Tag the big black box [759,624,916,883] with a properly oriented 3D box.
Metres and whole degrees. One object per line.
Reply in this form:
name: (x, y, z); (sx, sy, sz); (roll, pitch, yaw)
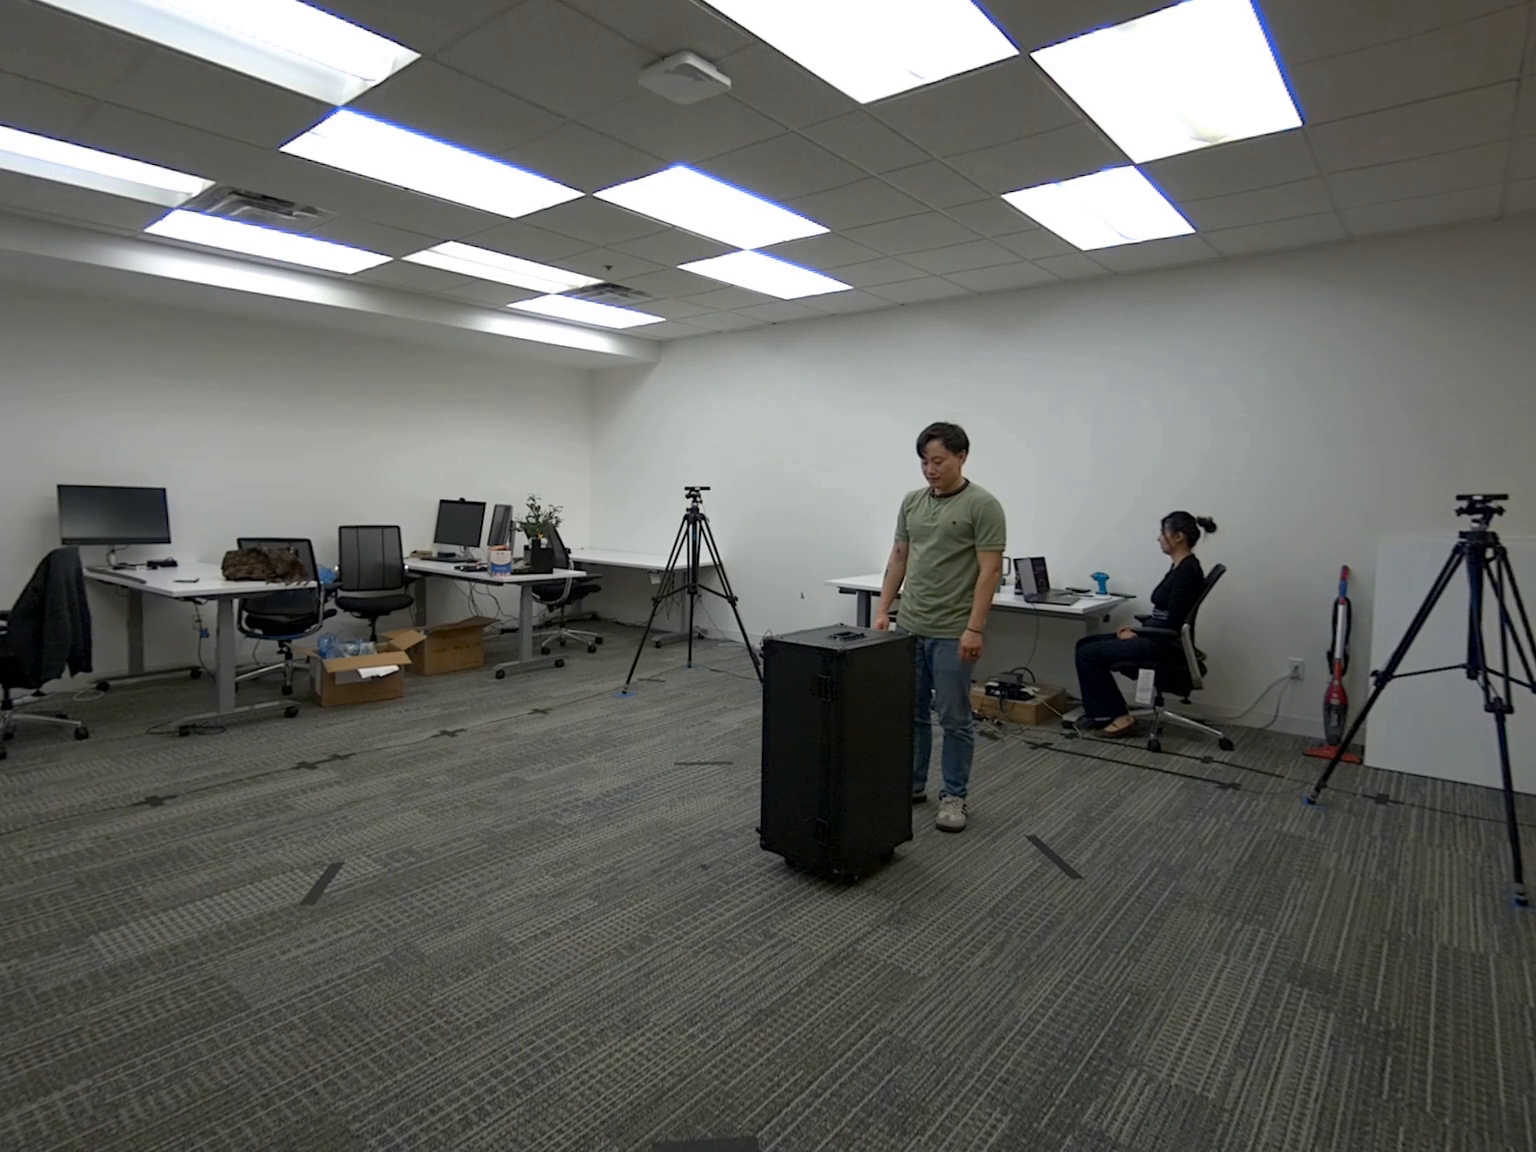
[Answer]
big black box: (0.246, 0.642, 3.164); (0.409, 0.860, 0.505); (2, 3, 41)
